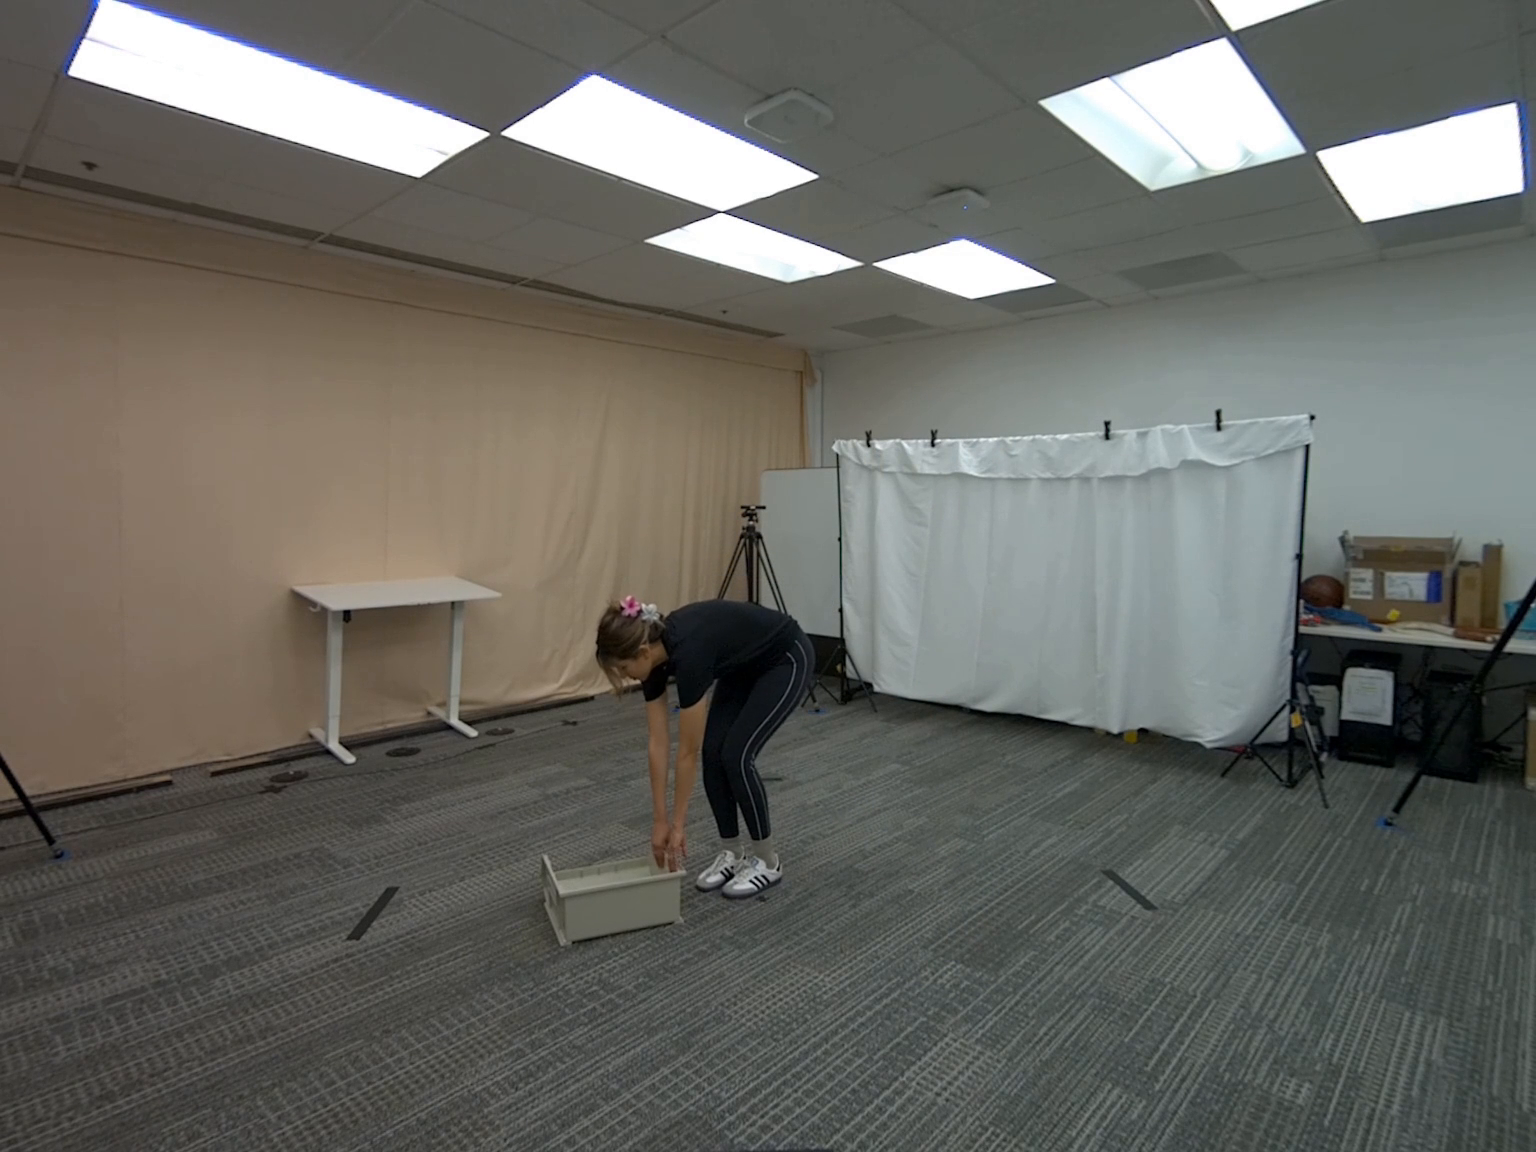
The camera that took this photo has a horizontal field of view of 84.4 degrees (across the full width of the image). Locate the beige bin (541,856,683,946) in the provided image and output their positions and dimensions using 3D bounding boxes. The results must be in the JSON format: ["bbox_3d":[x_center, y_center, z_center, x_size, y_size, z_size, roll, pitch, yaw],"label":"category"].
[{"bbox_3d":[-0.542,1.061,2.893,0.413,0.188,0.387,-1,5,-24],"label":"beige bin"}]
